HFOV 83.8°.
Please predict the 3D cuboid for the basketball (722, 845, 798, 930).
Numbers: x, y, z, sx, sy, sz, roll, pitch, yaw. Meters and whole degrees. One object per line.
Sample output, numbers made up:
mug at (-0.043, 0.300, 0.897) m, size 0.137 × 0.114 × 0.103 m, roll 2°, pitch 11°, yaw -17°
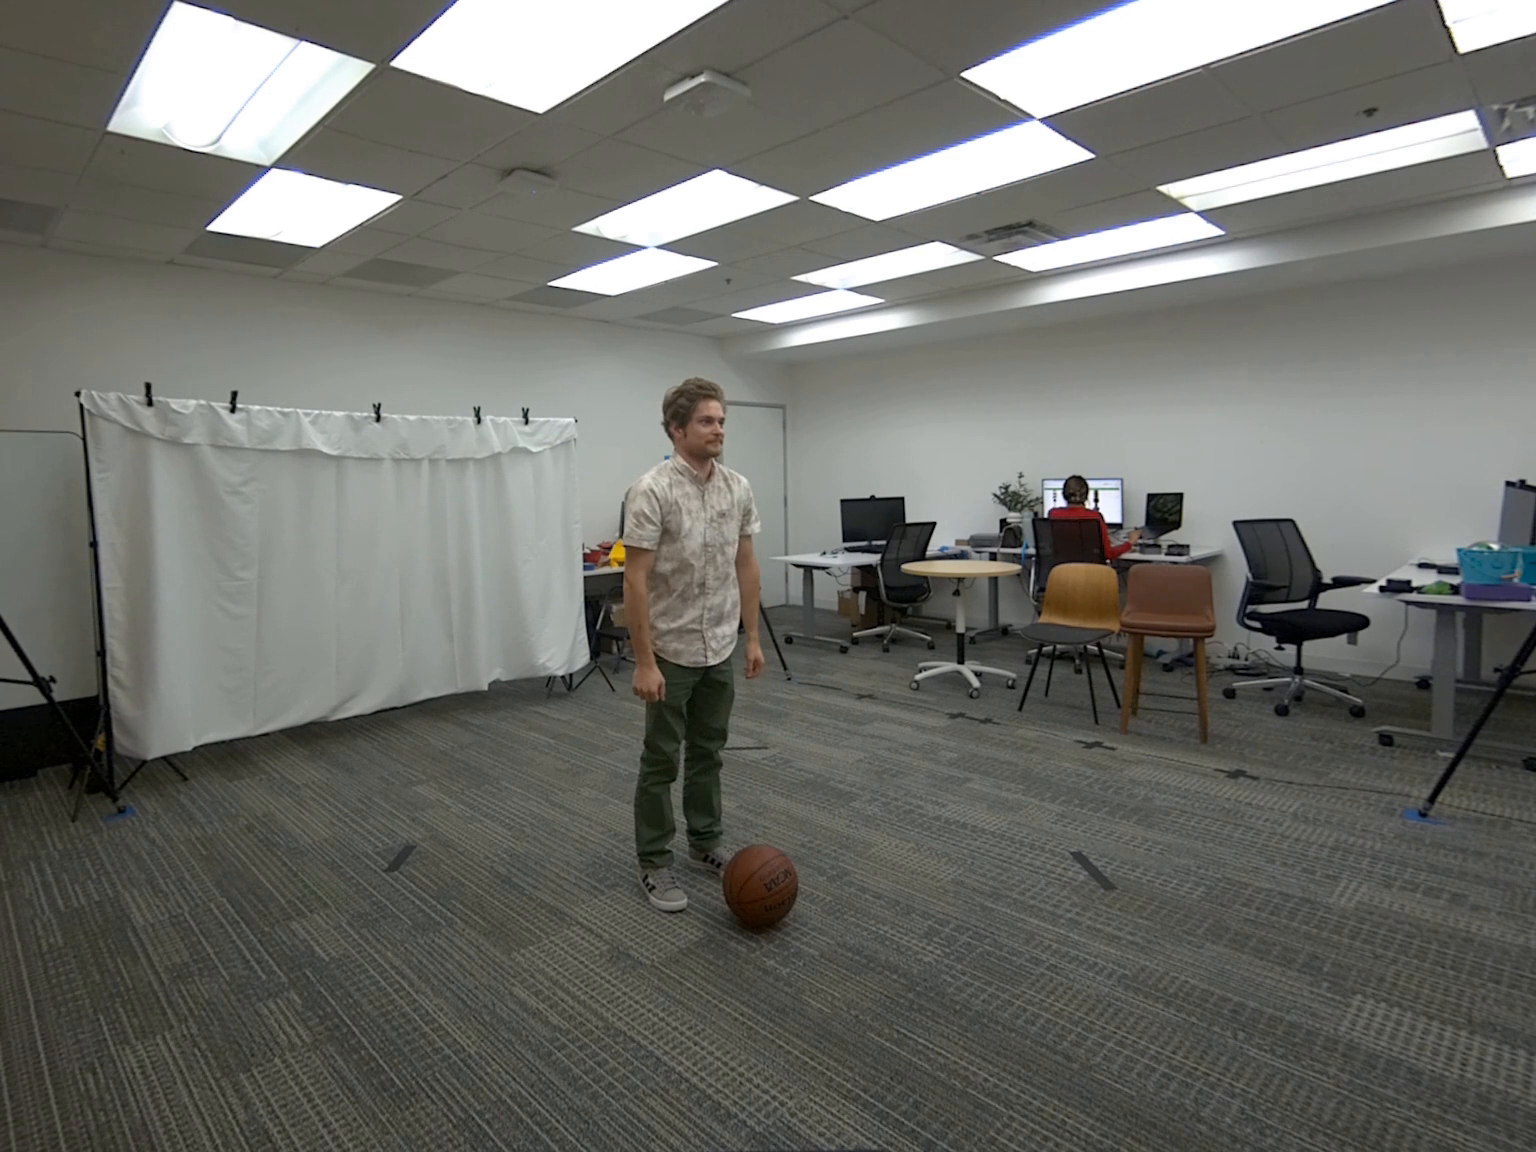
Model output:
basketball at (-0.020, 0.968, 2.691) m, size 0.236 × 0.235 × 0.237 m, roll -1°, pitch 5°, yaw -2°
